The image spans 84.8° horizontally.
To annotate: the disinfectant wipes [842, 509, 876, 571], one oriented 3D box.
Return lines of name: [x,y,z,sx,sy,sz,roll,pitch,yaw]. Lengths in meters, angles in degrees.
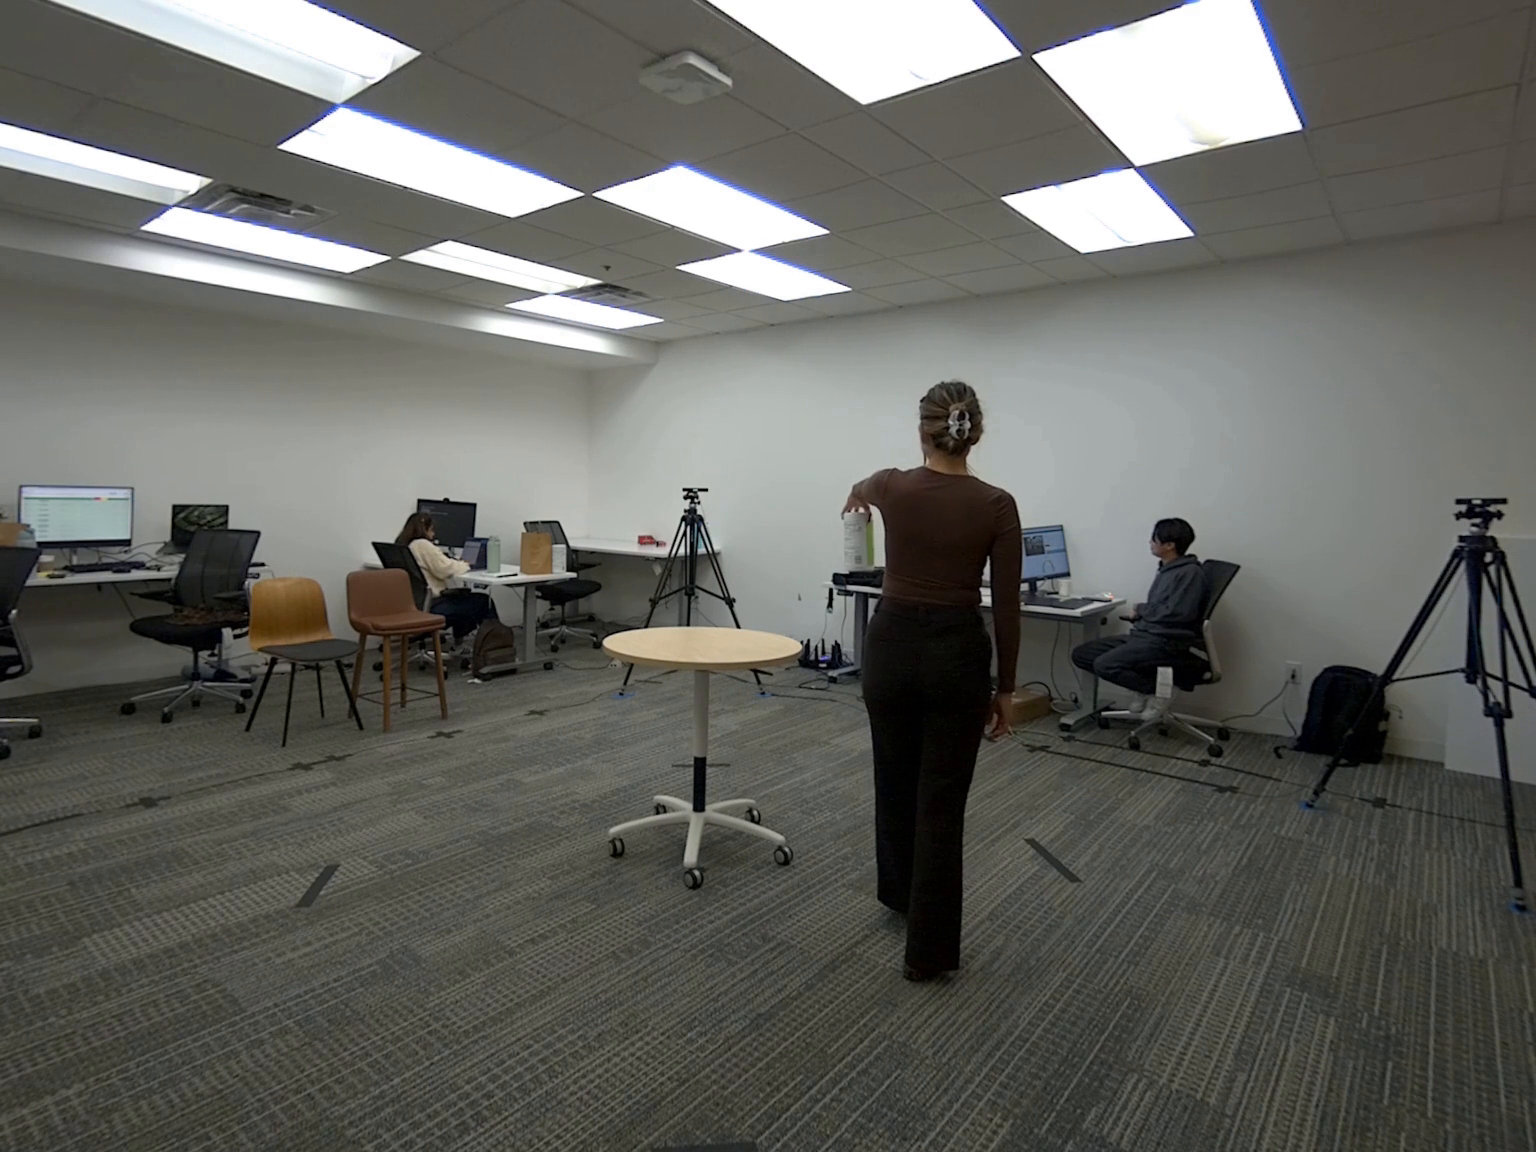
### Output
disinfectant wipes: [0.327,-0.125,3.125,0.118,0.218,0.118,0,-1,-2]
